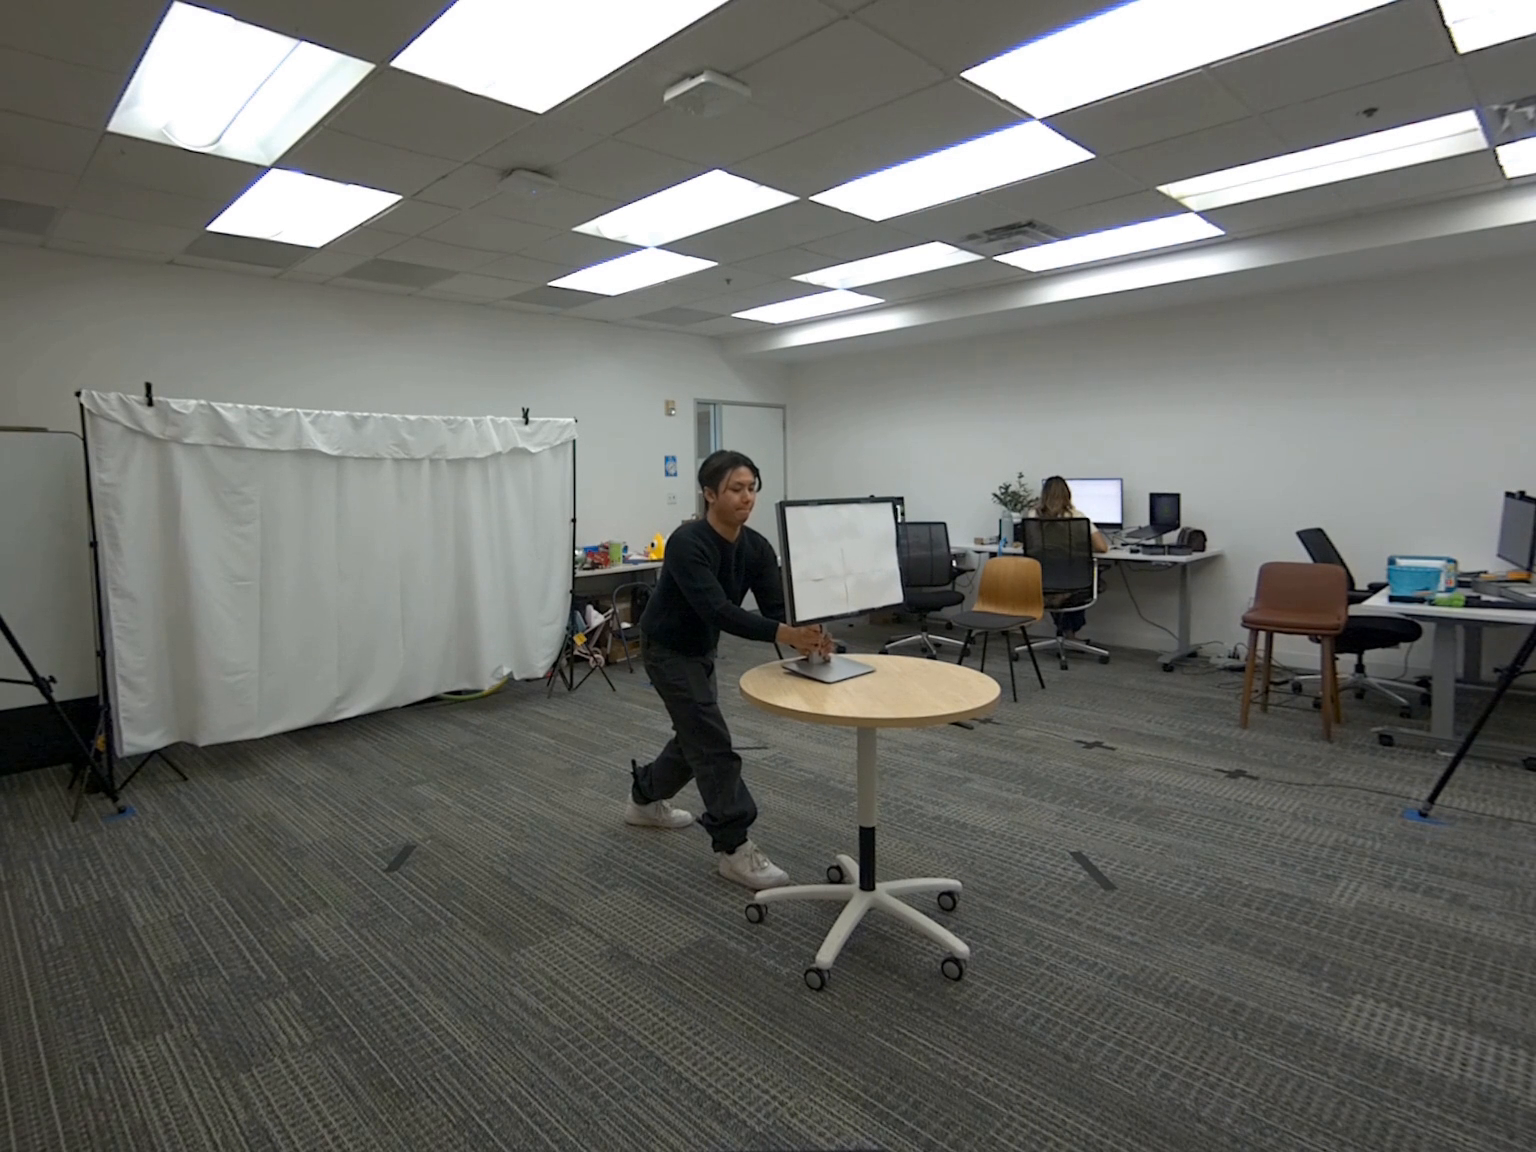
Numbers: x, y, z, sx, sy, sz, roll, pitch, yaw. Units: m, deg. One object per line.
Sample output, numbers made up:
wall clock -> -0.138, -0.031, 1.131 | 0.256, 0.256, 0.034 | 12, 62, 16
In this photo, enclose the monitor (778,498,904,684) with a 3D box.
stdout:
monitor -> 0.213, 0.033, 2.649 | 0.193, 0.519, 0.525 | 9, 10, 42
